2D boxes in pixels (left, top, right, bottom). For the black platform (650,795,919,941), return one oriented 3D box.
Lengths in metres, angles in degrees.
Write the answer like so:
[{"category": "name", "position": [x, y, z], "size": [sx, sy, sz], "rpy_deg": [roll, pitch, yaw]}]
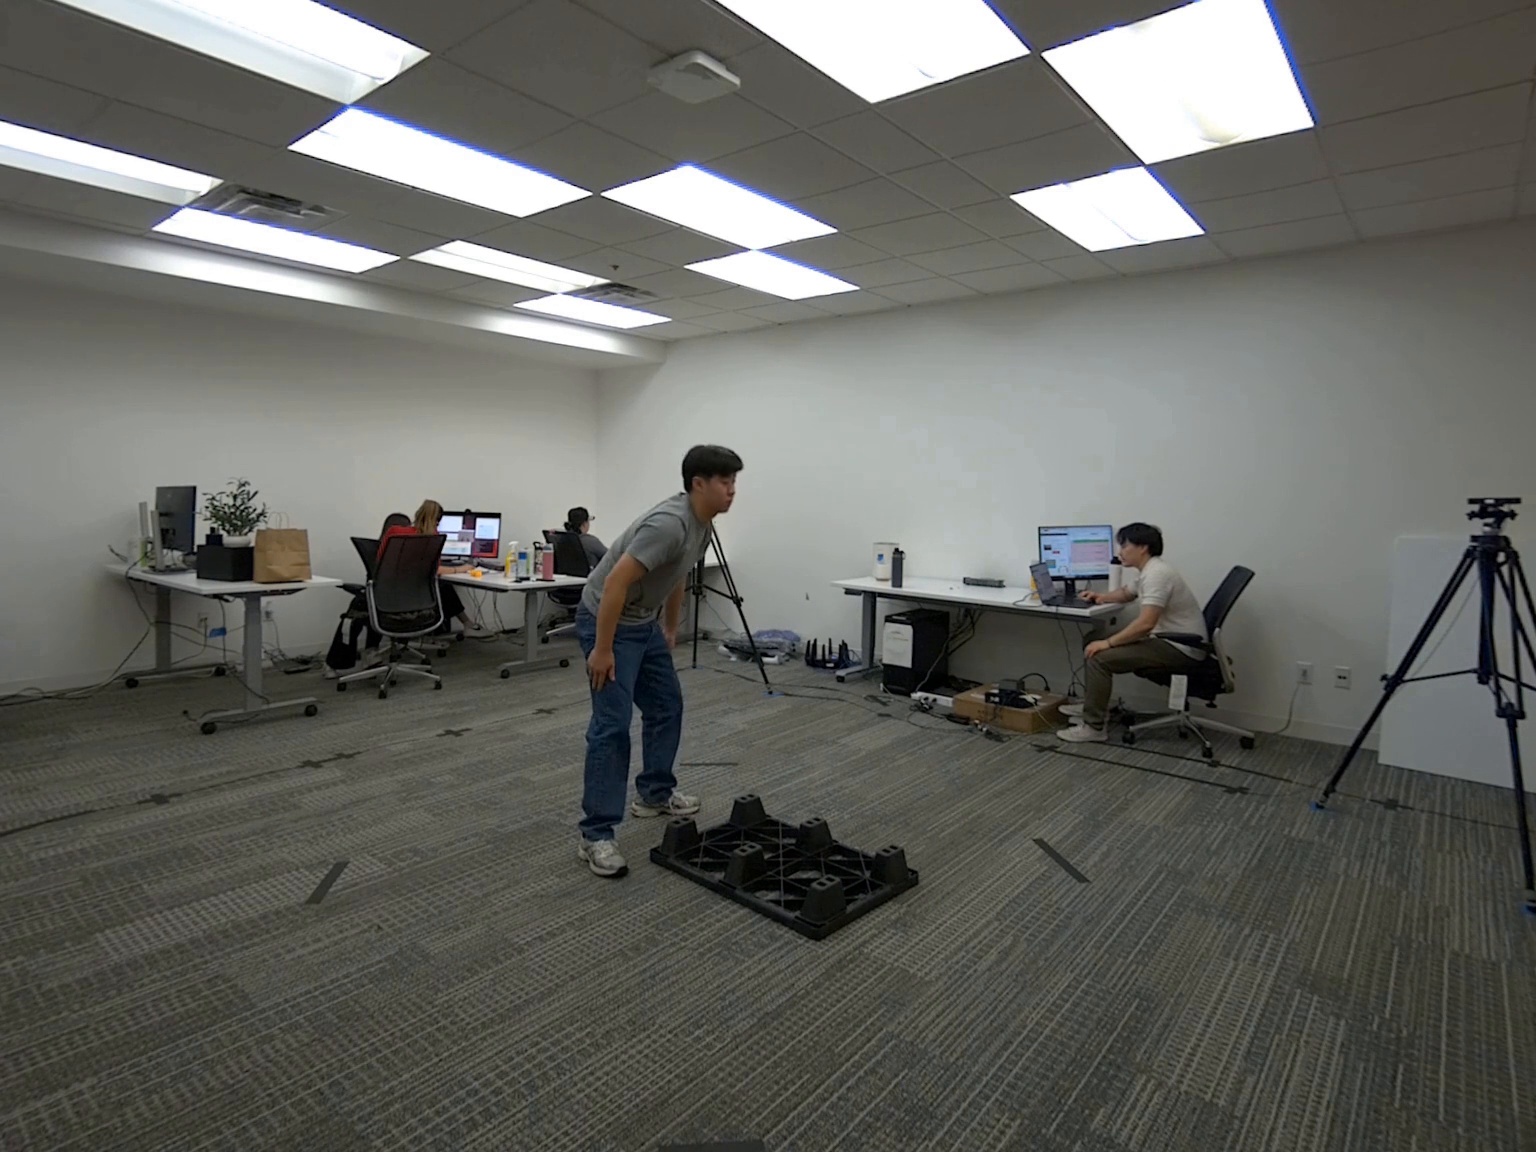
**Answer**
[{"category": "black platform", "position": [0.045, 1.006, 3.098], "size": [0.833, 0.143, 0.587], "rpy_deg": [6, 8, 42]}]
